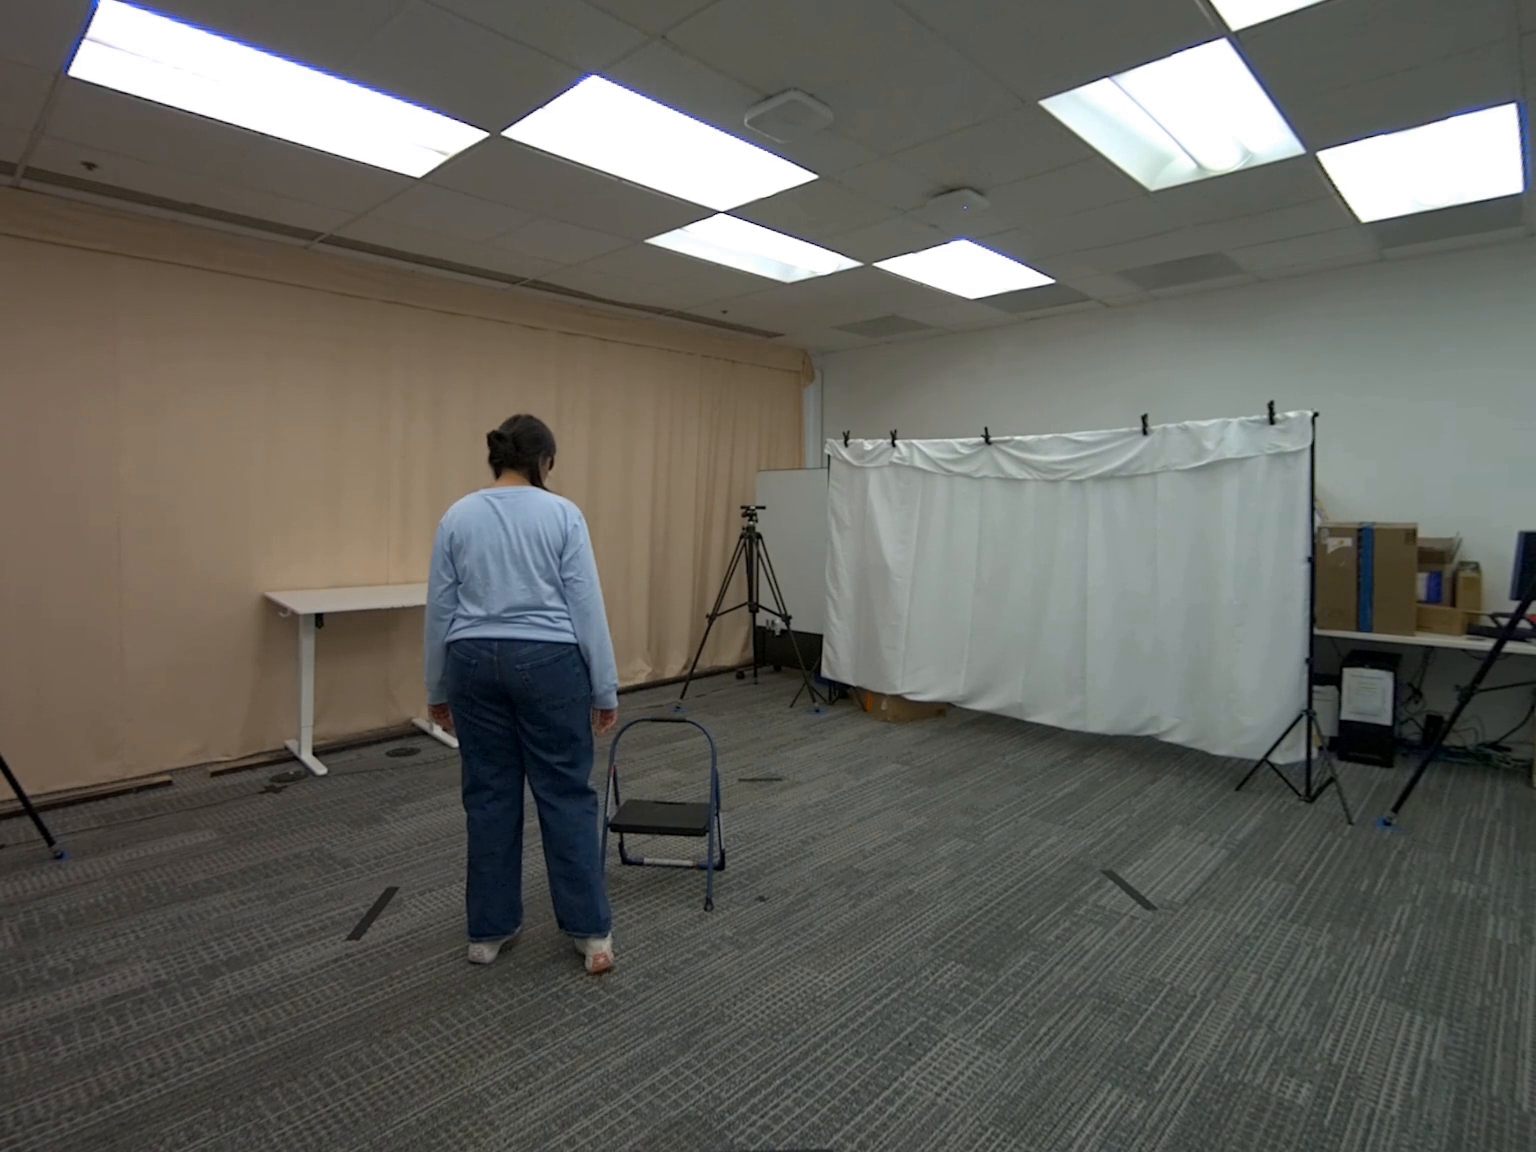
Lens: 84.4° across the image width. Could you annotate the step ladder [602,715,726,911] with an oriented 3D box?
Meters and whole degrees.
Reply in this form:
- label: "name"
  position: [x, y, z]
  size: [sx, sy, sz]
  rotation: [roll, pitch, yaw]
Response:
- label: "step ladder"
  position: [-0.386, 0.835, 3.091]
  size: [0.435, 0.605, 0.346]
  rotation: [0, 3, 9]
